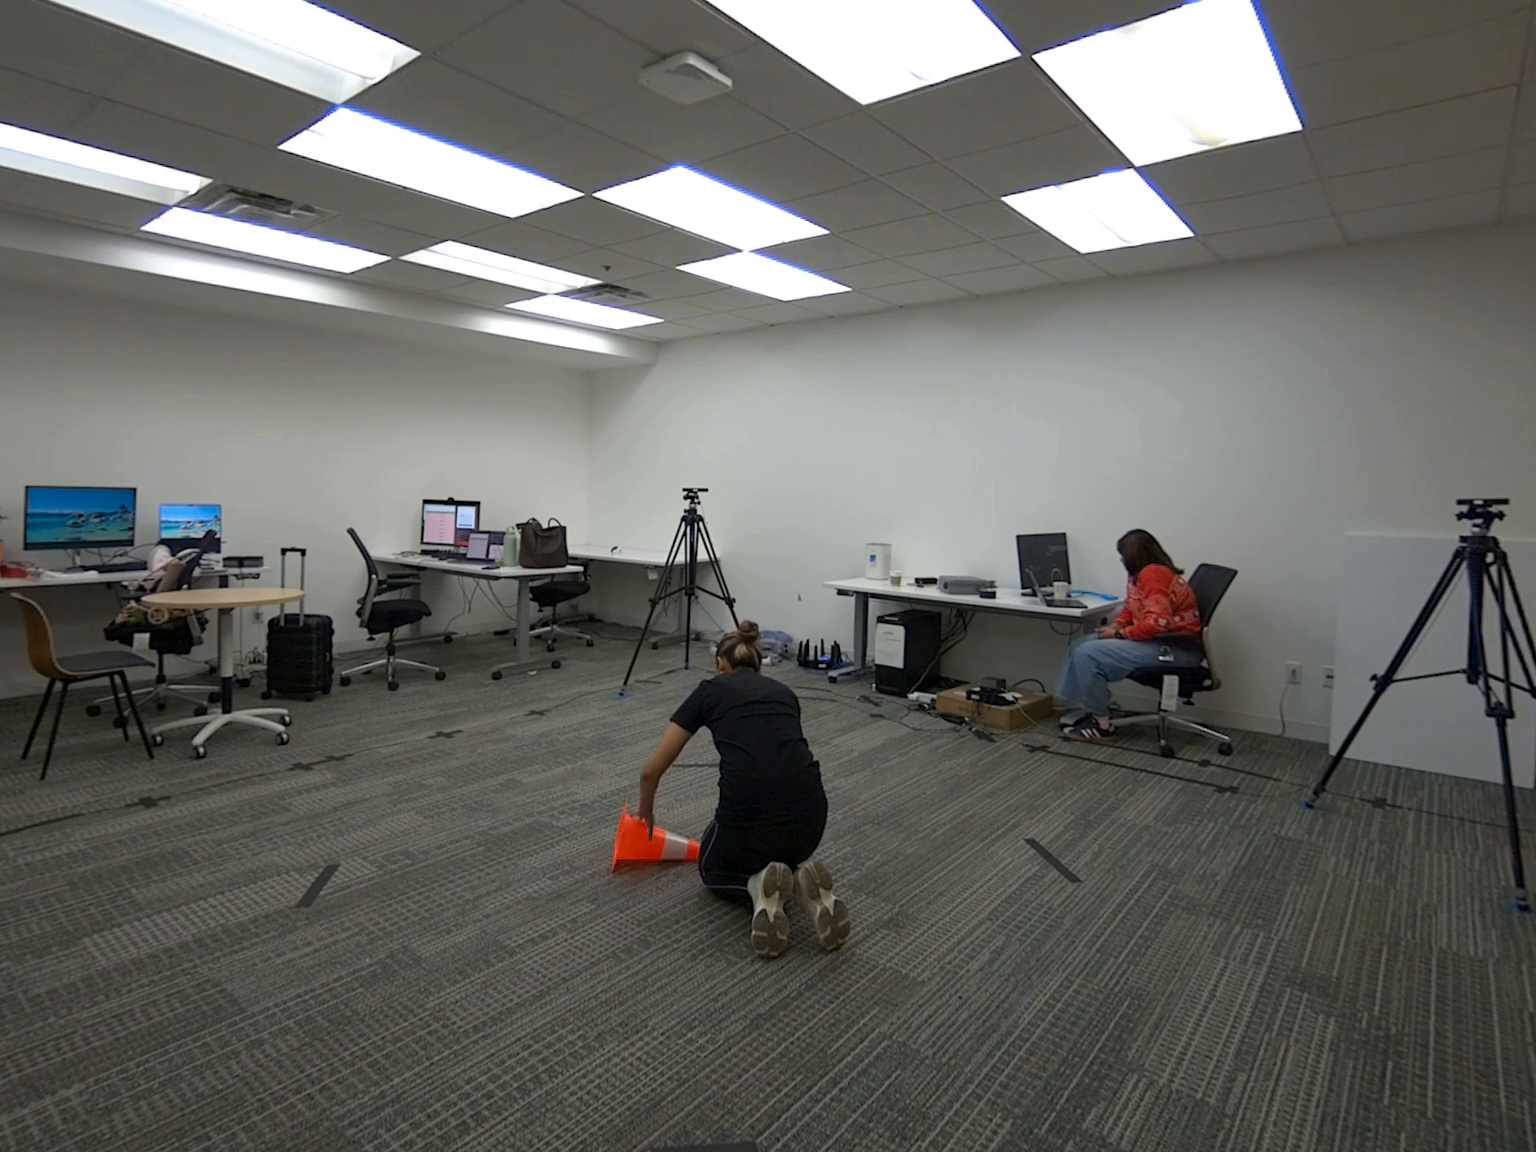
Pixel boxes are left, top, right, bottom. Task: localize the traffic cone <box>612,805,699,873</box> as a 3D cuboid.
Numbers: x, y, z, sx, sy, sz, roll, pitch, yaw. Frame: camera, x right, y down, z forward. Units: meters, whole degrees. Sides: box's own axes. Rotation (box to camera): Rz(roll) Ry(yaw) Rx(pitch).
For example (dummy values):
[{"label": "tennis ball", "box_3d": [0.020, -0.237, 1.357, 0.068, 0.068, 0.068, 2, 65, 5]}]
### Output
[{"label": "traffic cone", "box_3d": [-0.380, 1.010, 3.176, 0.381, 0.204, 0.206, 14, 9, -5]}]
